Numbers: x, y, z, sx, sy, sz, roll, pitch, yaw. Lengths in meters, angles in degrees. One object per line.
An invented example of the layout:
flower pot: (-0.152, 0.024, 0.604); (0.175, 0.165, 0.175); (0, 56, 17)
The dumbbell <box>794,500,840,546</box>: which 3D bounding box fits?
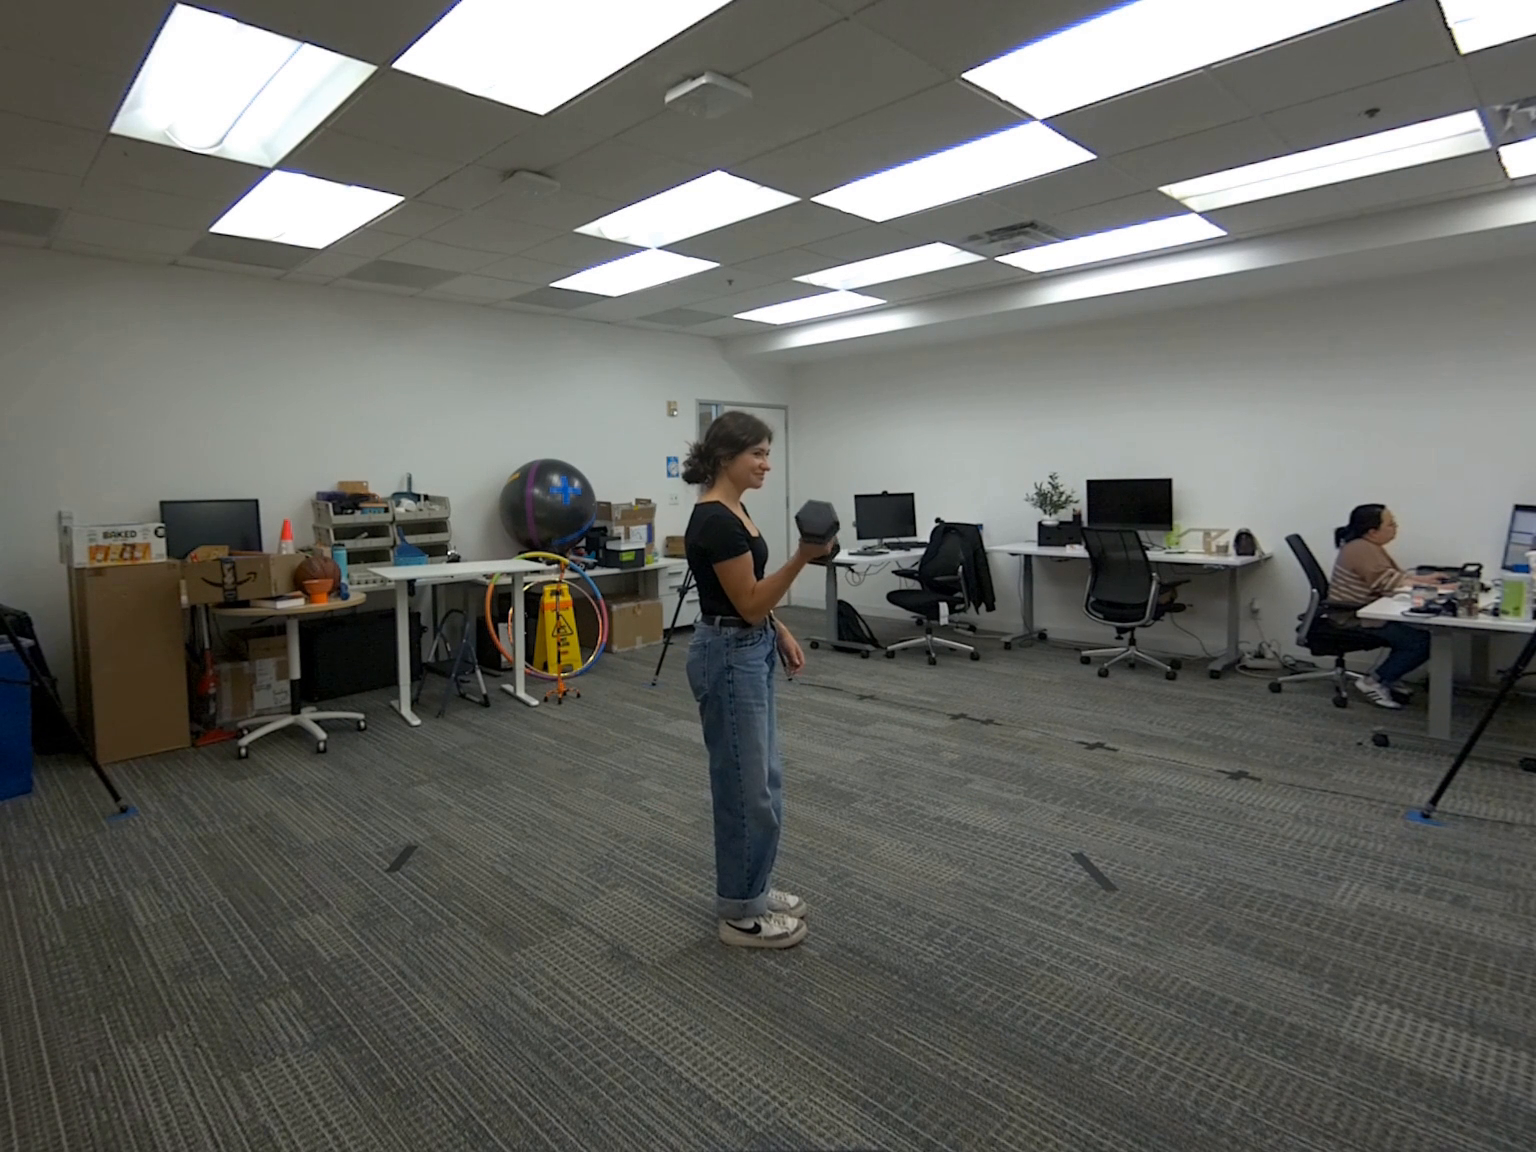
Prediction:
dumbbell: (0.142, -0.114, 2.412); (0.111, 0.123, 0.287); (38, -9, 14)
